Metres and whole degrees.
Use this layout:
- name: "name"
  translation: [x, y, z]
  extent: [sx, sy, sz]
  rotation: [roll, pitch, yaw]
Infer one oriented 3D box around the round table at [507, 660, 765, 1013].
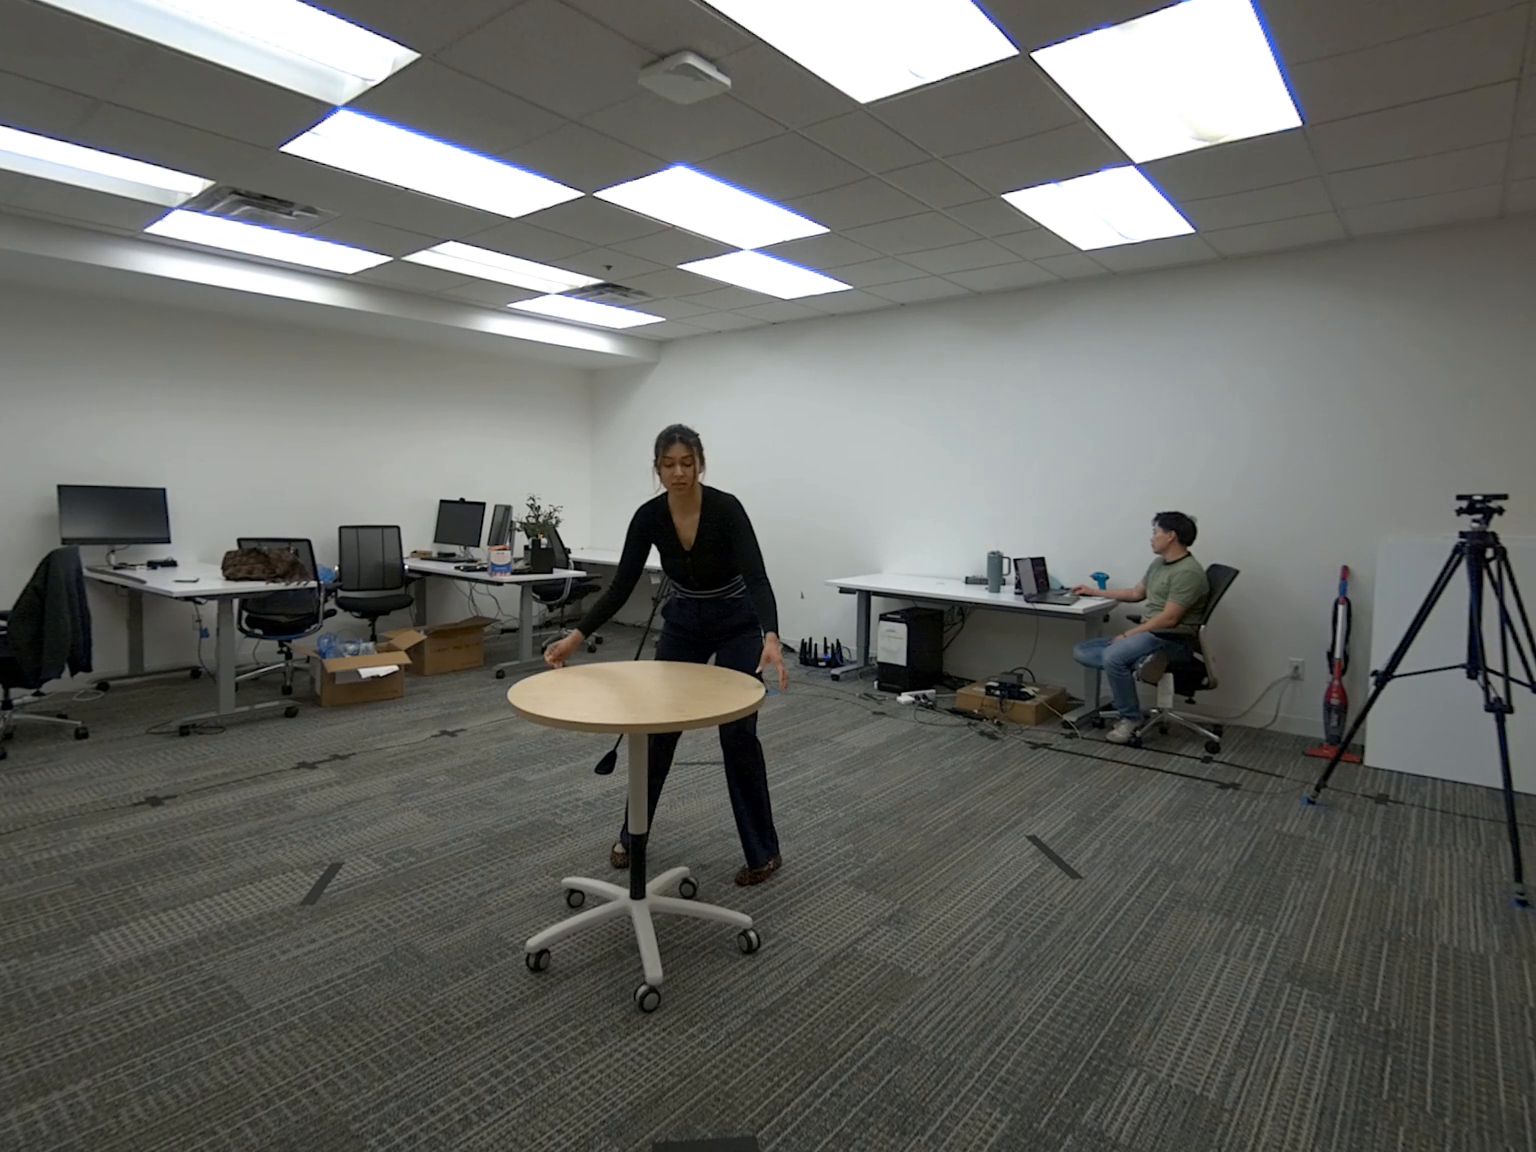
- name: "round table"
  translation: [-0.402, 0.726, 2.572]
  extent: [0.763, 0.791, 0.768]
  rotation: [0, 4, -2]
